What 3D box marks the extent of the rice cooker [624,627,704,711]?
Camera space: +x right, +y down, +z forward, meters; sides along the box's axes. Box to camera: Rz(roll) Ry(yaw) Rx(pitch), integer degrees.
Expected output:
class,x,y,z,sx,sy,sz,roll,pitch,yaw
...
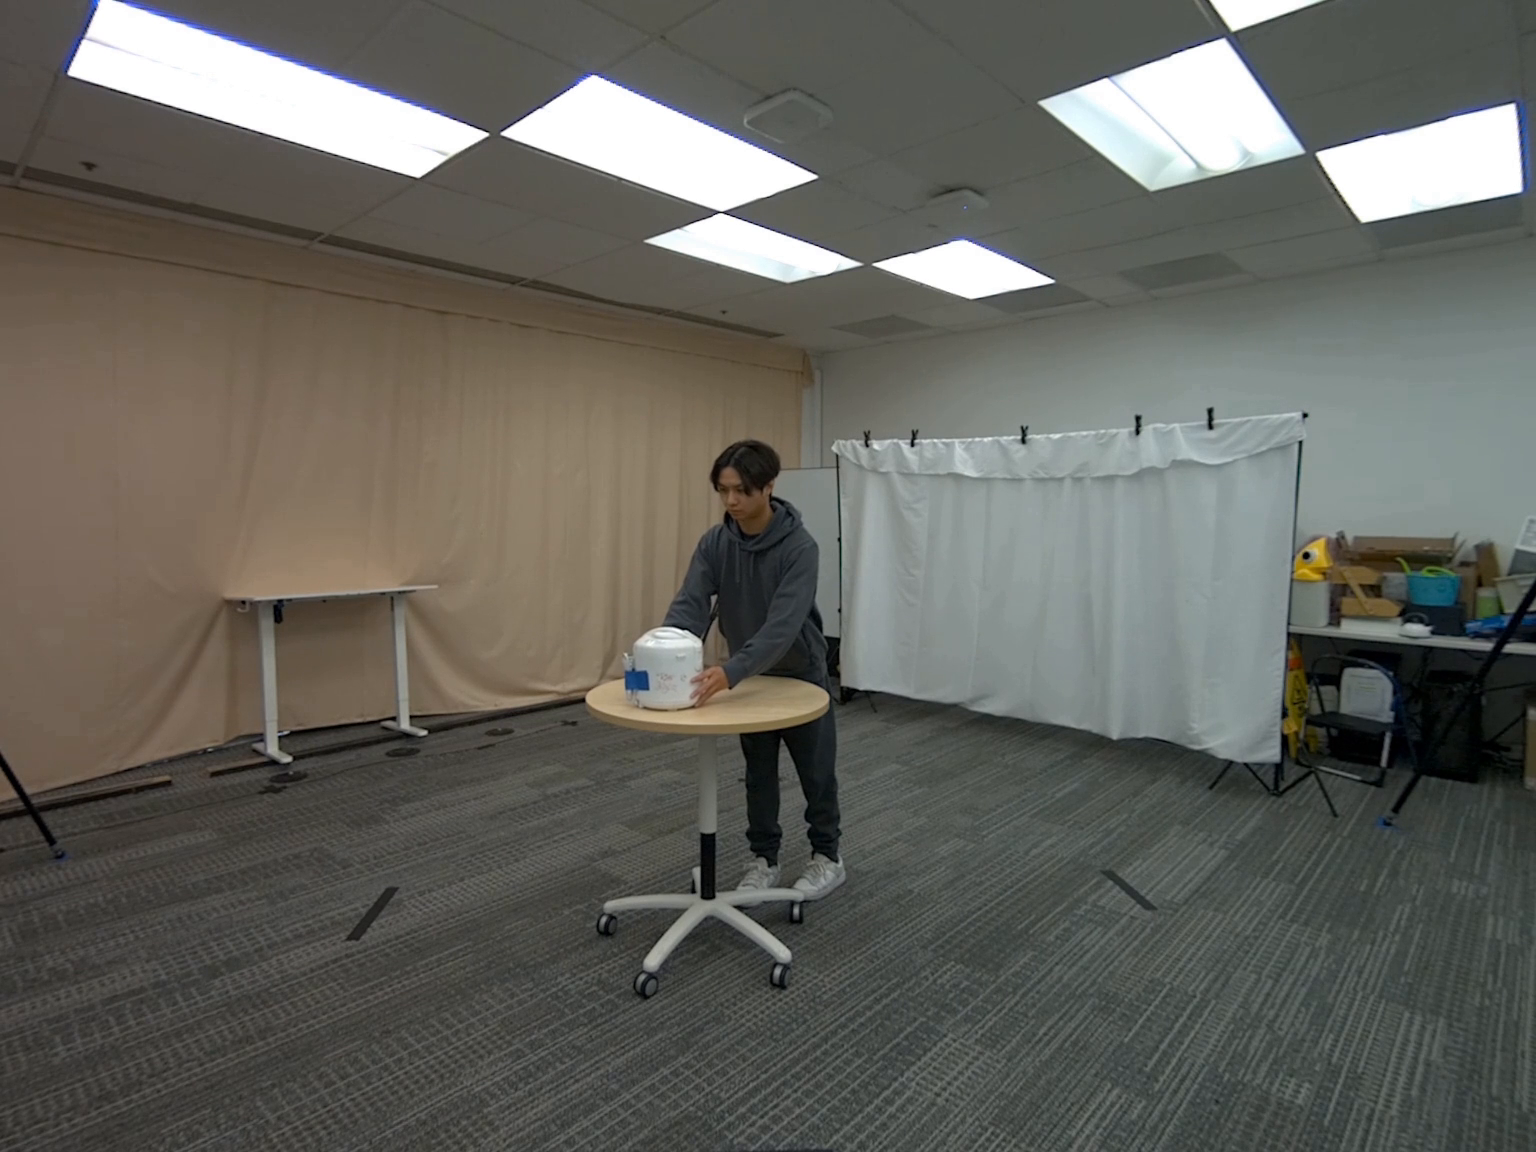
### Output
class,x,y,z,sx,sy,sz,roll,pitch,yaw
rice cooker,-0.289,0.269,2.527,0.226,0.232,0.213,1,4,23
